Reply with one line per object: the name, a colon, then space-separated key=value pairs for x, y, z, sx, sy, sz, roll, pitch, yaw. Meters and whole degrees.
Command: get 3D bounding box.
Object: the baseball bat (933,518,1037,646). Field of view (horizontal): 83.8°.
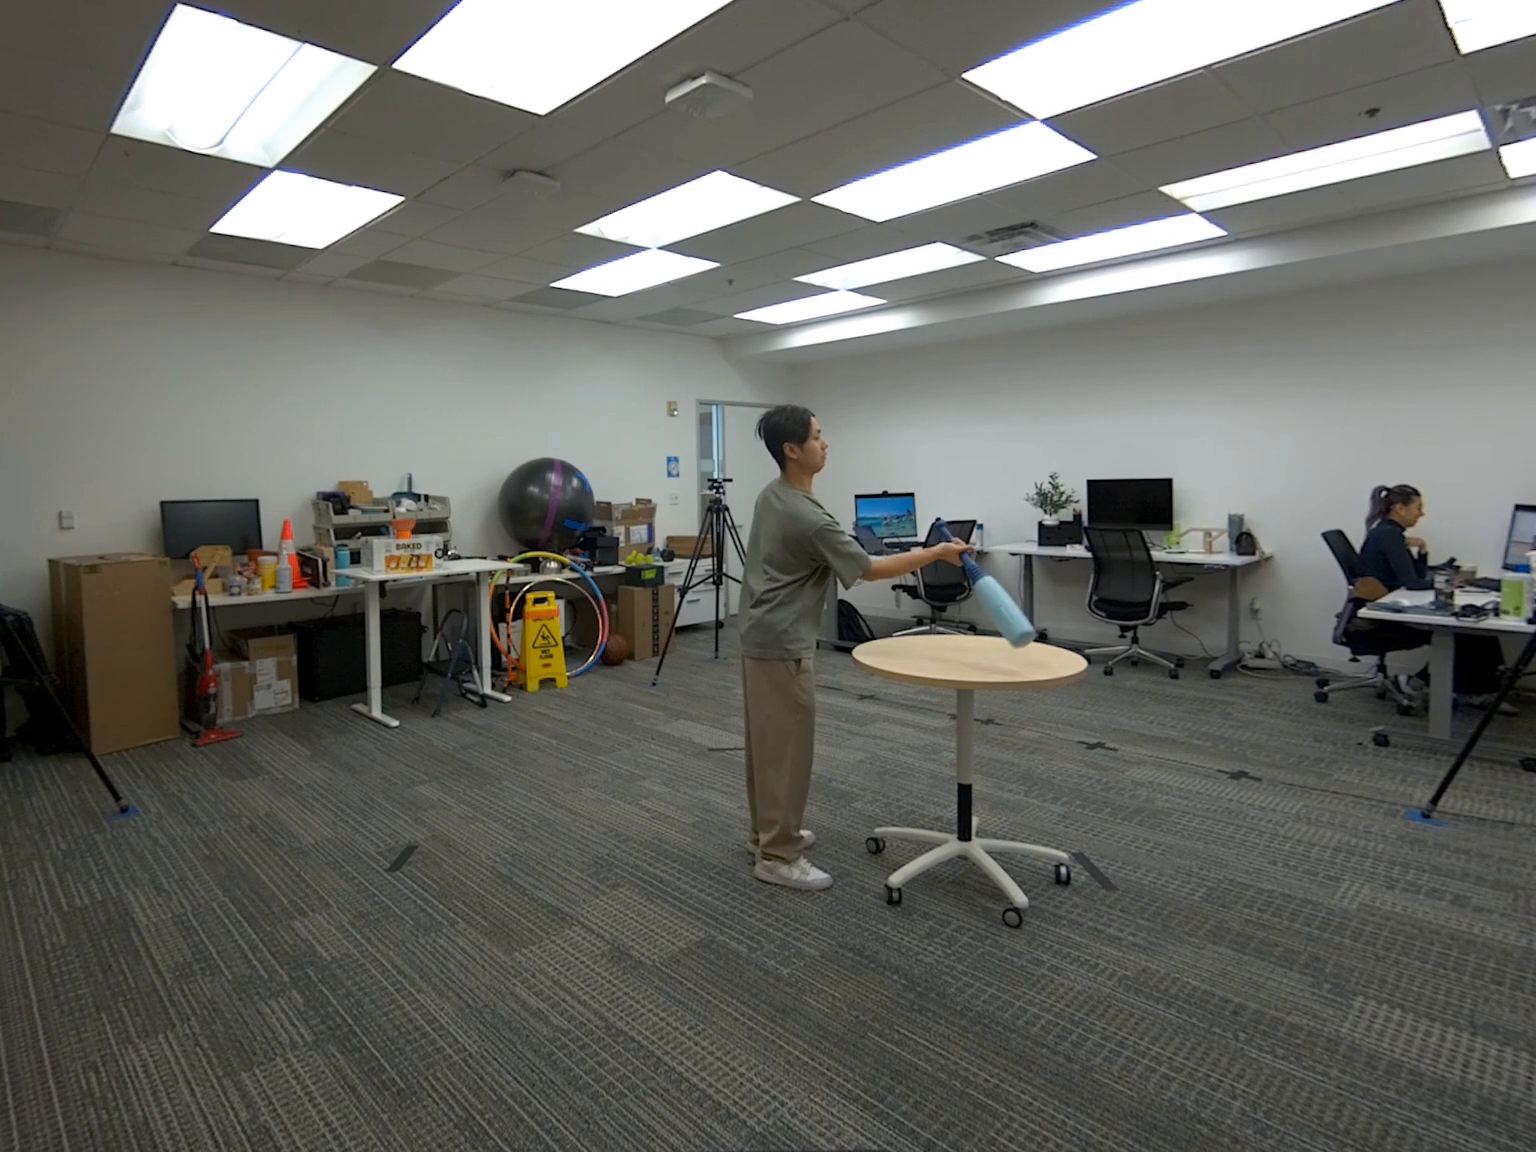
baseball bat: x=0.695 y=-0.038 z=2.808 sx=0.087 sy=0.087 sz=0.563 roll=-3 pitch=45 yaw=-24
